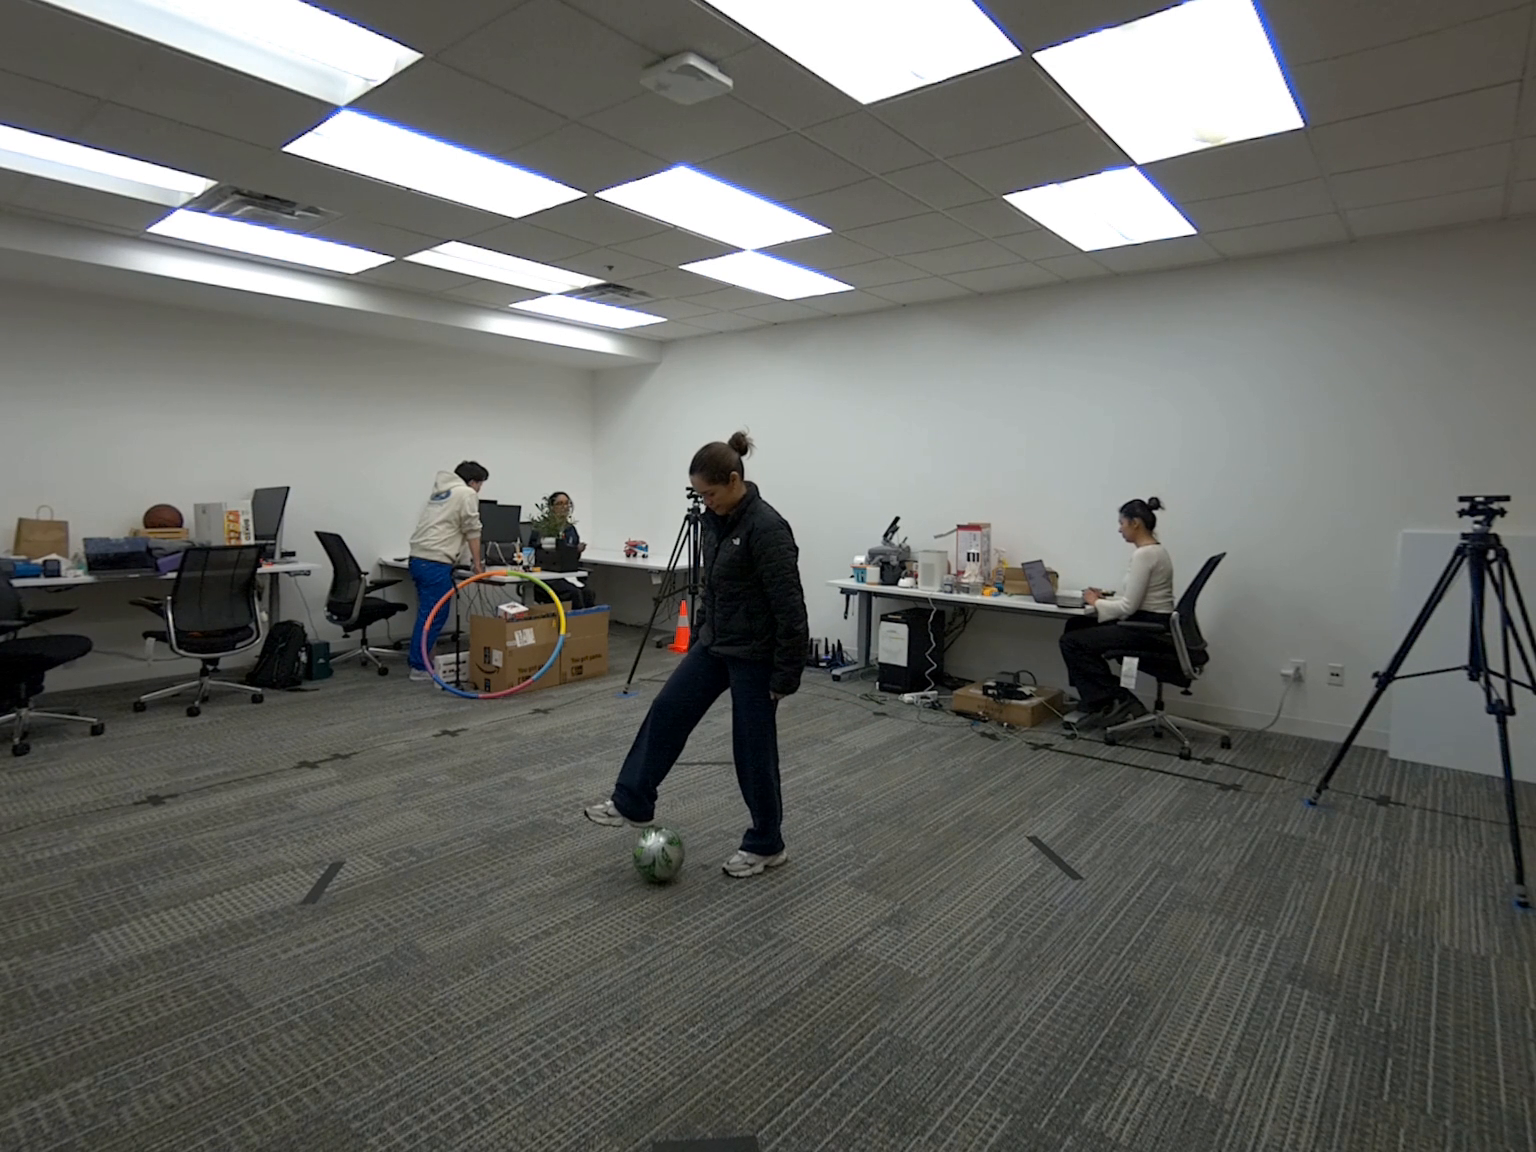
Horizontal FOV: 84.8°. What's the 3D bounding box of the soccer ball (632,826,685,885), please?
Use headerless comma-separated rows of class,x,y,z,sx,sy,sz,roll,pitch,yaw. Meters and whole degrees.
soccer ball,-0.394,0.978,3.010,0.187,0.187,0.188,1,4,-2
